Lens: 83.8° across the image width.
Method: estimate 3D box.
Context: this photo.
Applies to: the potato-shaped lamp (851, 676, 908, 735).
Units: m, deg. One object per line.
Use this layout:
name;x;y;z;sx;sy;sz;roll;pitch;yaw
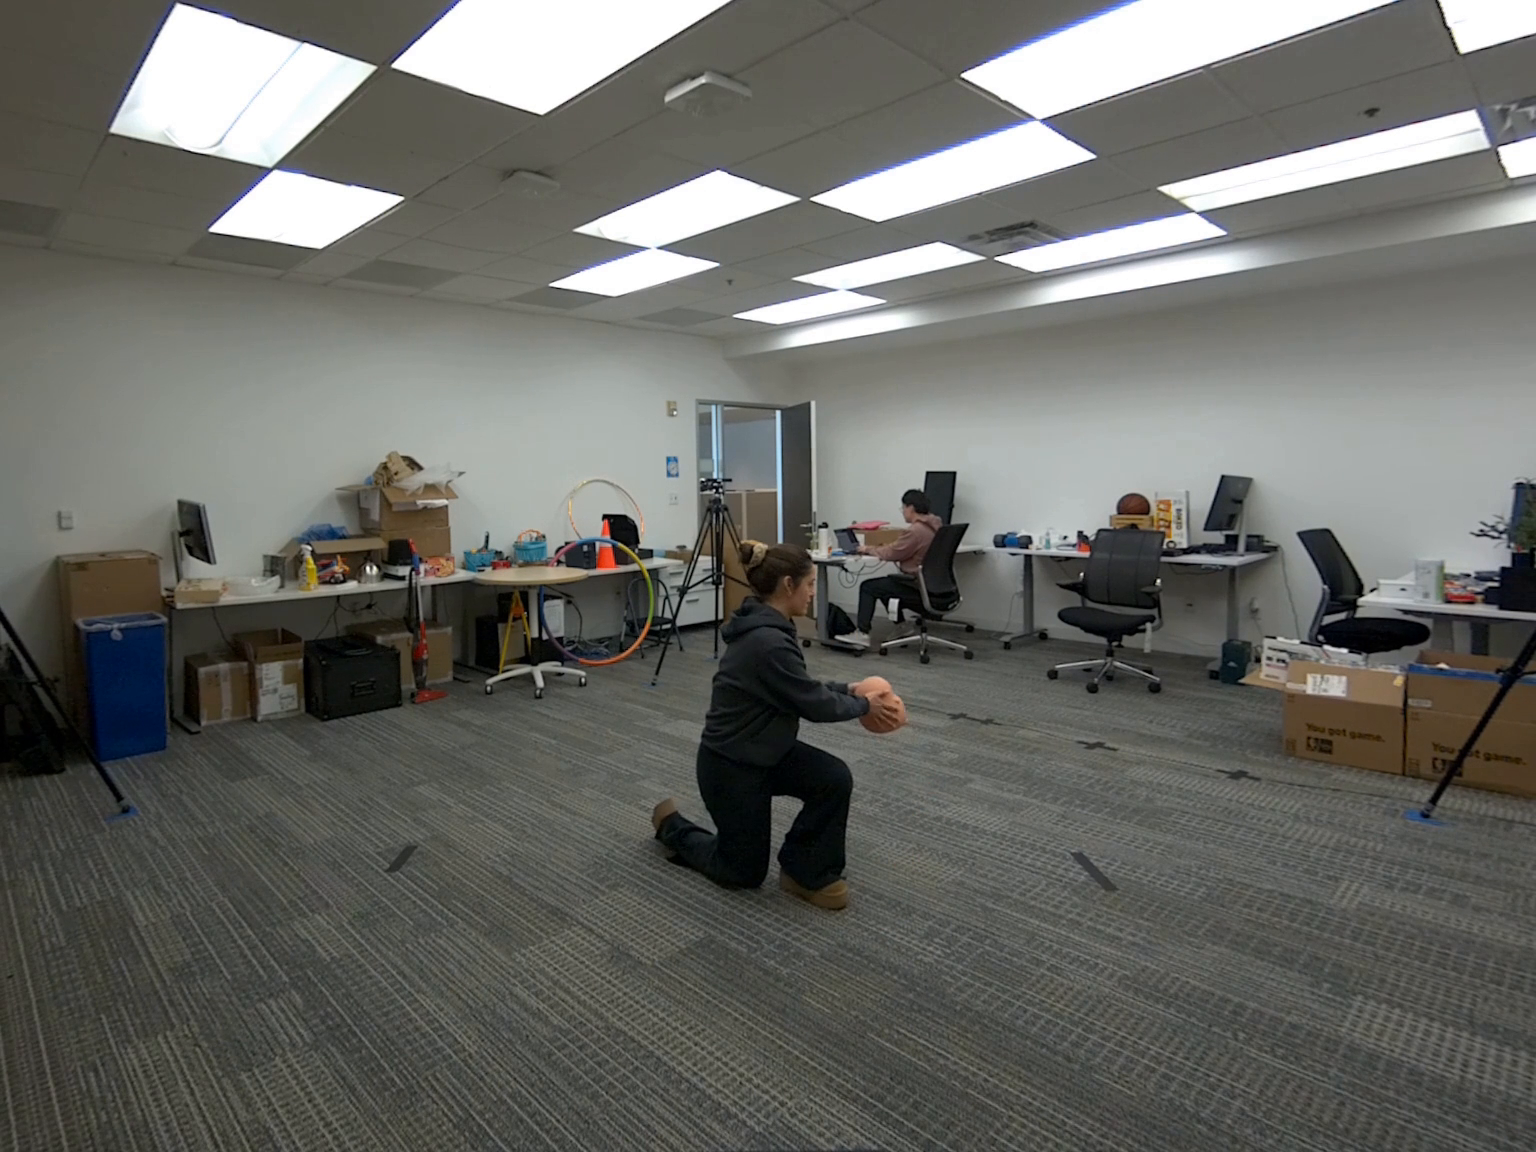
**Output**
potato-shaped lamp;0.386;0.462;3.057;0.170;0.195;0.168;-19;16;-9
